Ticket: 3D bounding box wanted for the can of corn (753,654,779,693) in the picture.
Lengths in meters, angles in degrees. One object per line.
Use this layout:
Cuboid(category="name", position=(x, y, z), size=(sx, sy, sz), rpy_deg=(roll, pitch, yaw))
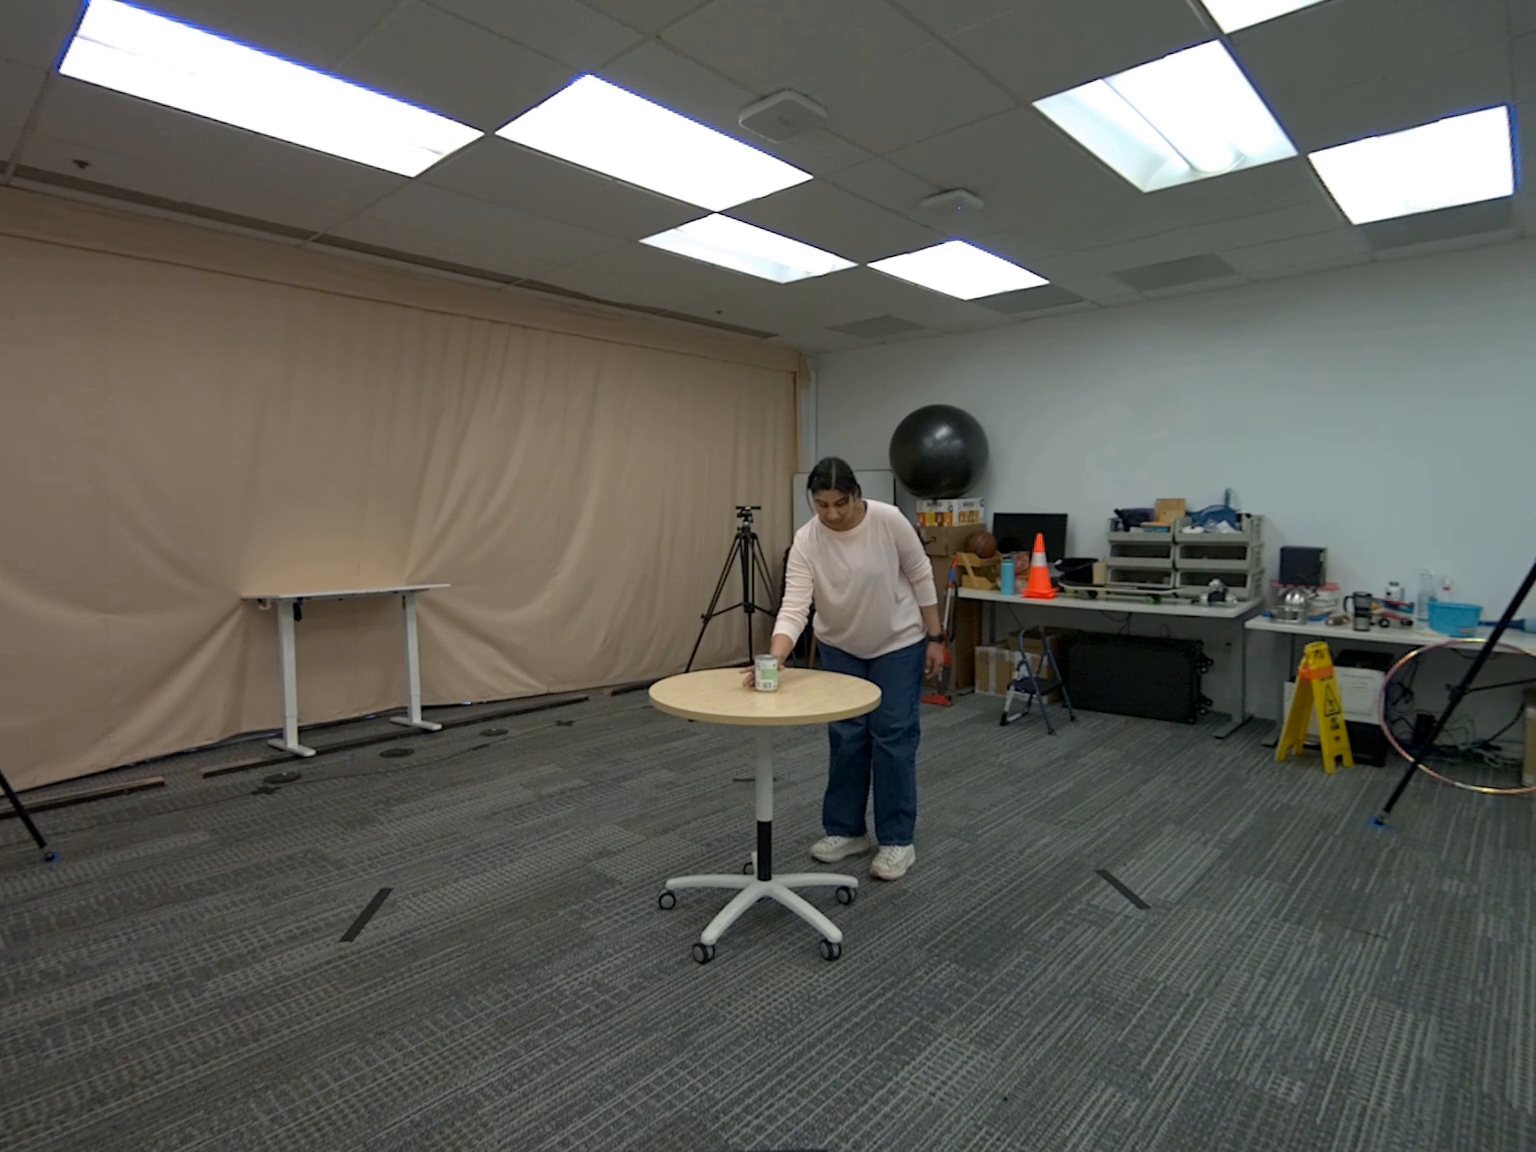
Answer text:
Cuboid(category="can of corn", position=(-0.002, 0.320, 2.778), size=(0.074, 0.111, 0.074), rpy_deg=(-4, 2, -2))
